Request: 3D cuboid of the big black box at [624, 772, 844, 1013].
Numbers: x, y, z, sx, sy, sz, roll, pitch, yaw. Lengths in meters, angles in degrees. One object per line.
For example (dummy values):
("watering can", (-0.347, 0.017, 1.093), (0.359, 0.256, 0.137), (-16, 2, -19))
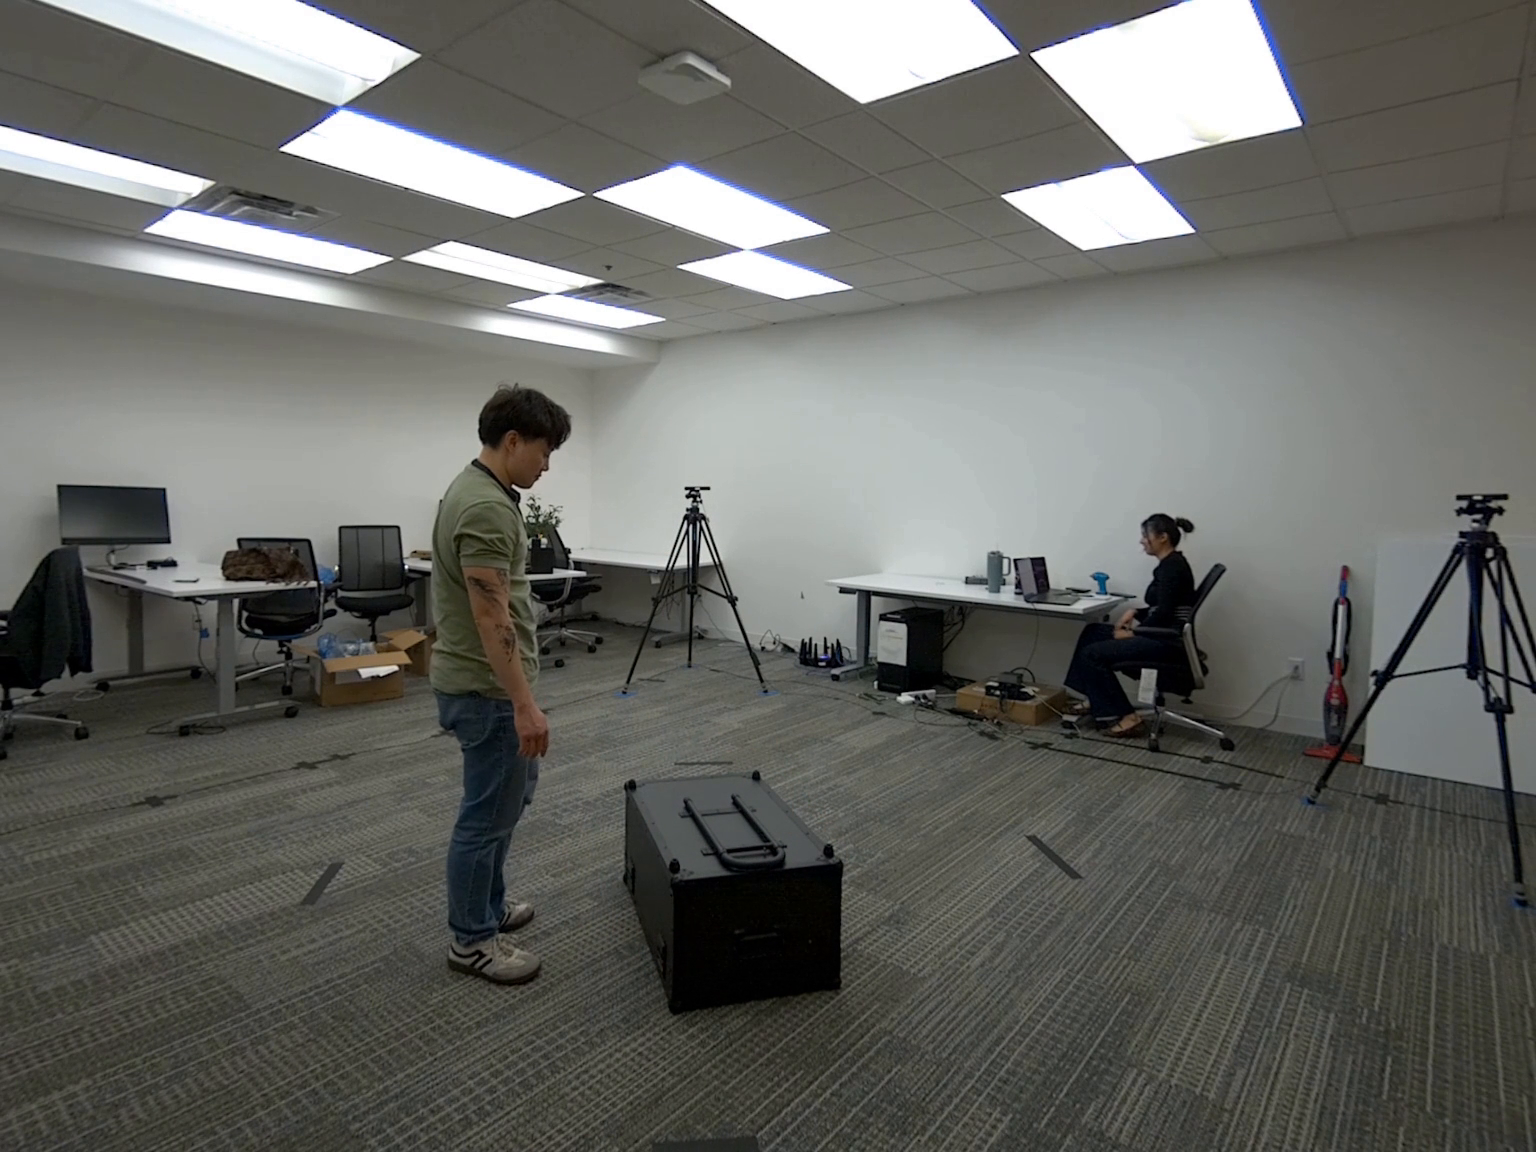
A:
("big black box", (-0.171, 0.913, 2.696), (0.512, 0.395, 0.879), (0, 4, -18))
